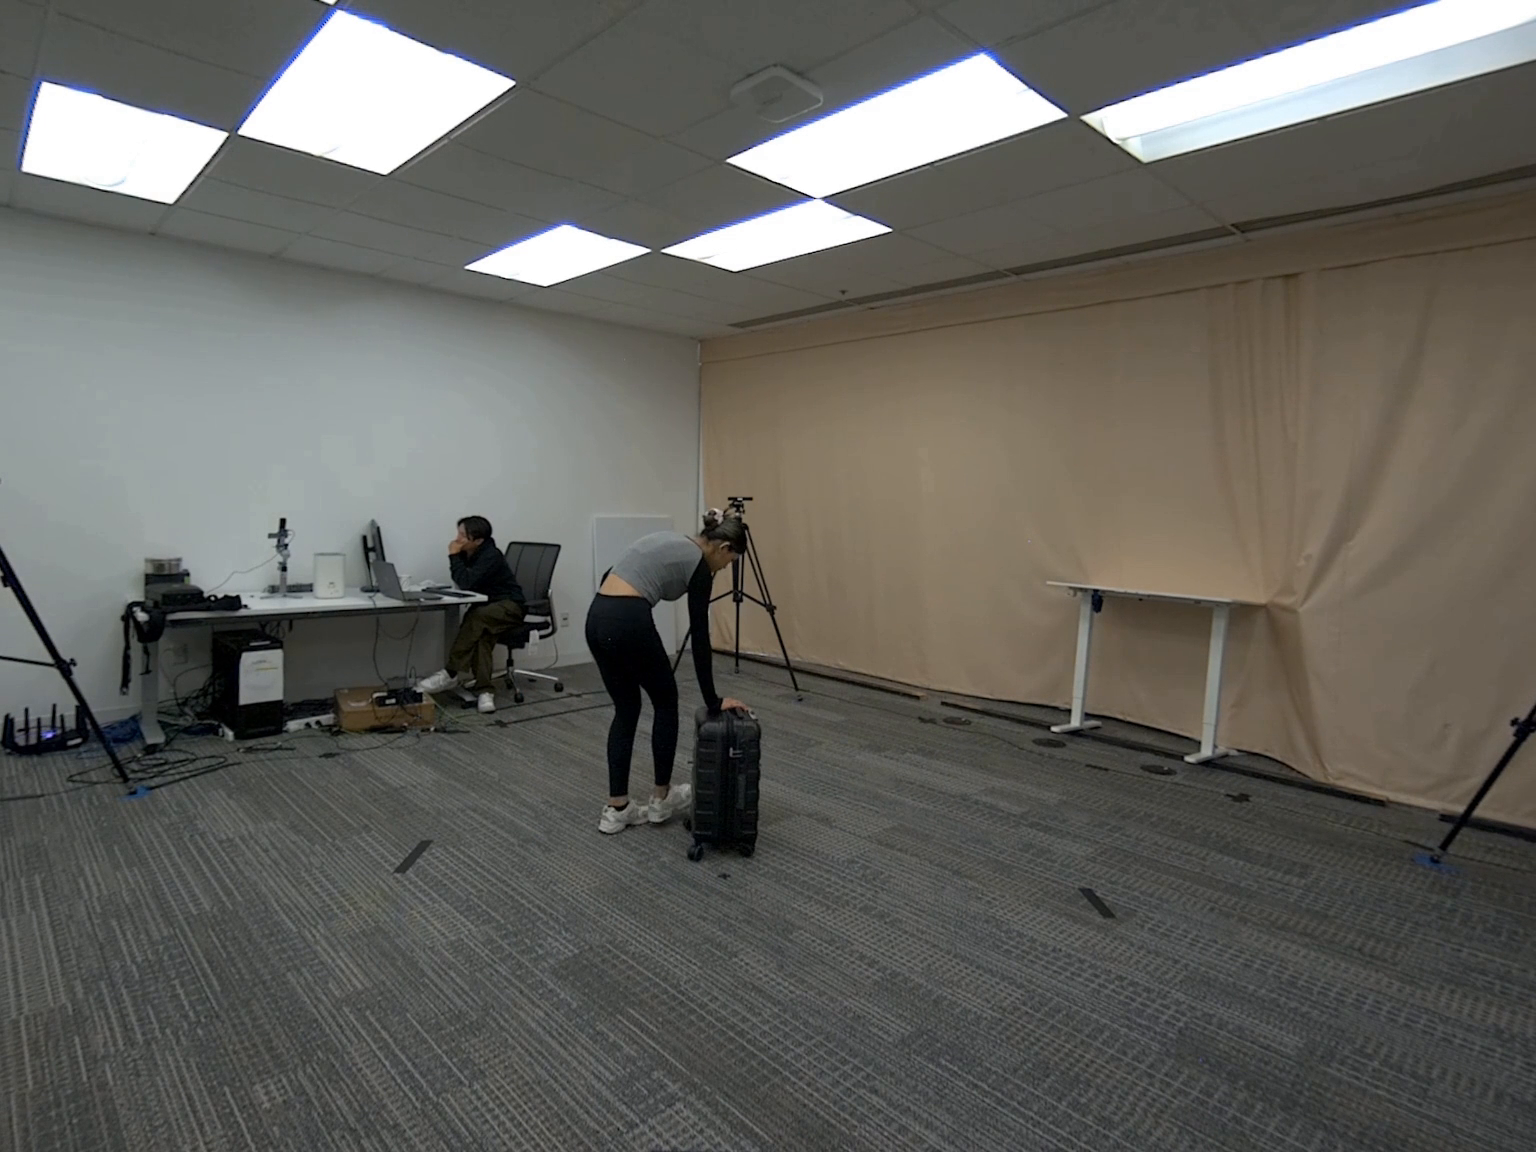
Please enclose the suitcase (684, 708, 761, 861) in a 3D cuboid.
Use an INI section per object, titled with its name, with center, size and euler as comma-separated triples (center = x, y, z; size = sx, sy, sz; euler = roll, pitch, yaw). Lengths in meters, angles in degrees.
[suitcase]
center = -0.172, 0.806, 3.396
size = 0.247, 0.548, 0.378
euler = 2, 3, -8
